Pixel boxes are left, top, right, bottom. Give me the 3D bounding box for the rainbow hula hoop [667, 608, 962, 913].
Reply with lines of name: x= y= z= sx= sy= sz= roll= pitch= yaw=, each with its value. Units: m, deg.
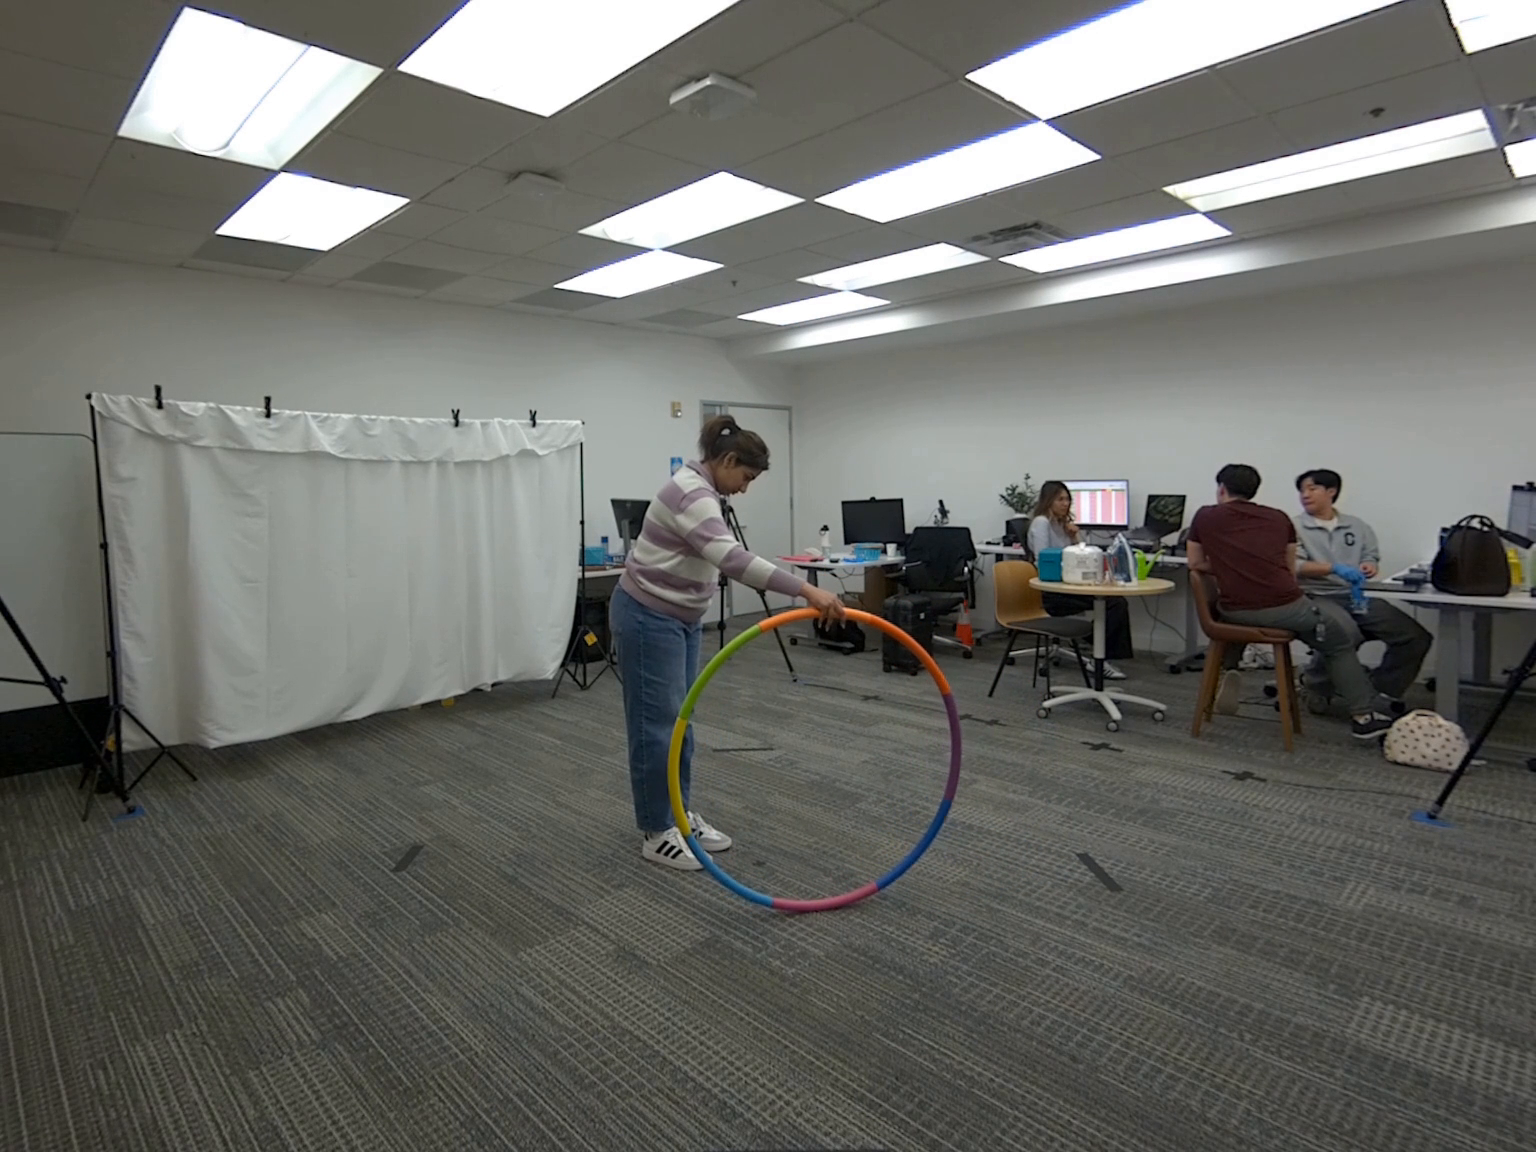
rainbow hula hoop: x=0.165 y=0.585 z=2.750 sx=0.968 sy=0.977 sz=0.036 roll=-2 pitch=2 yaw=-11
